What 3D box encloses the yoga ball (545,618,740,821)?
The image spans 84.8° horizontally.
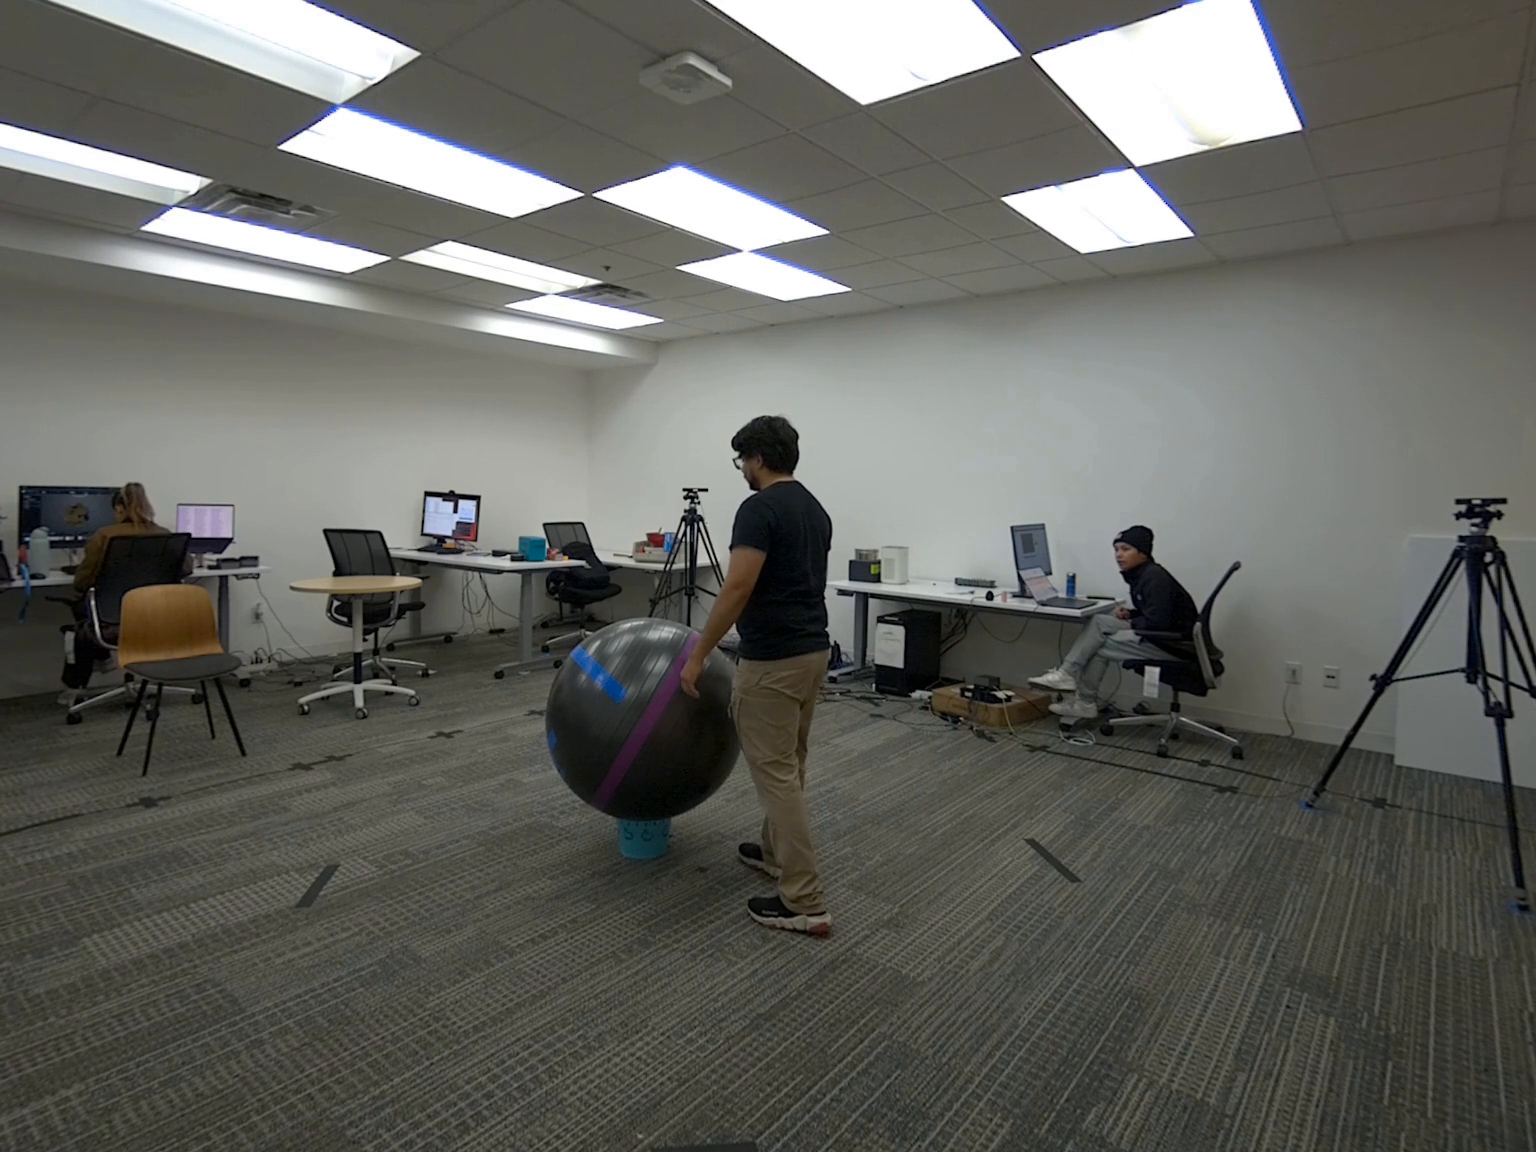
[{"bbox_3d":[-0.484,0.548,3.255,0.757,0.756,0.761,1,4,-2],"label":"yoga ball"}]
